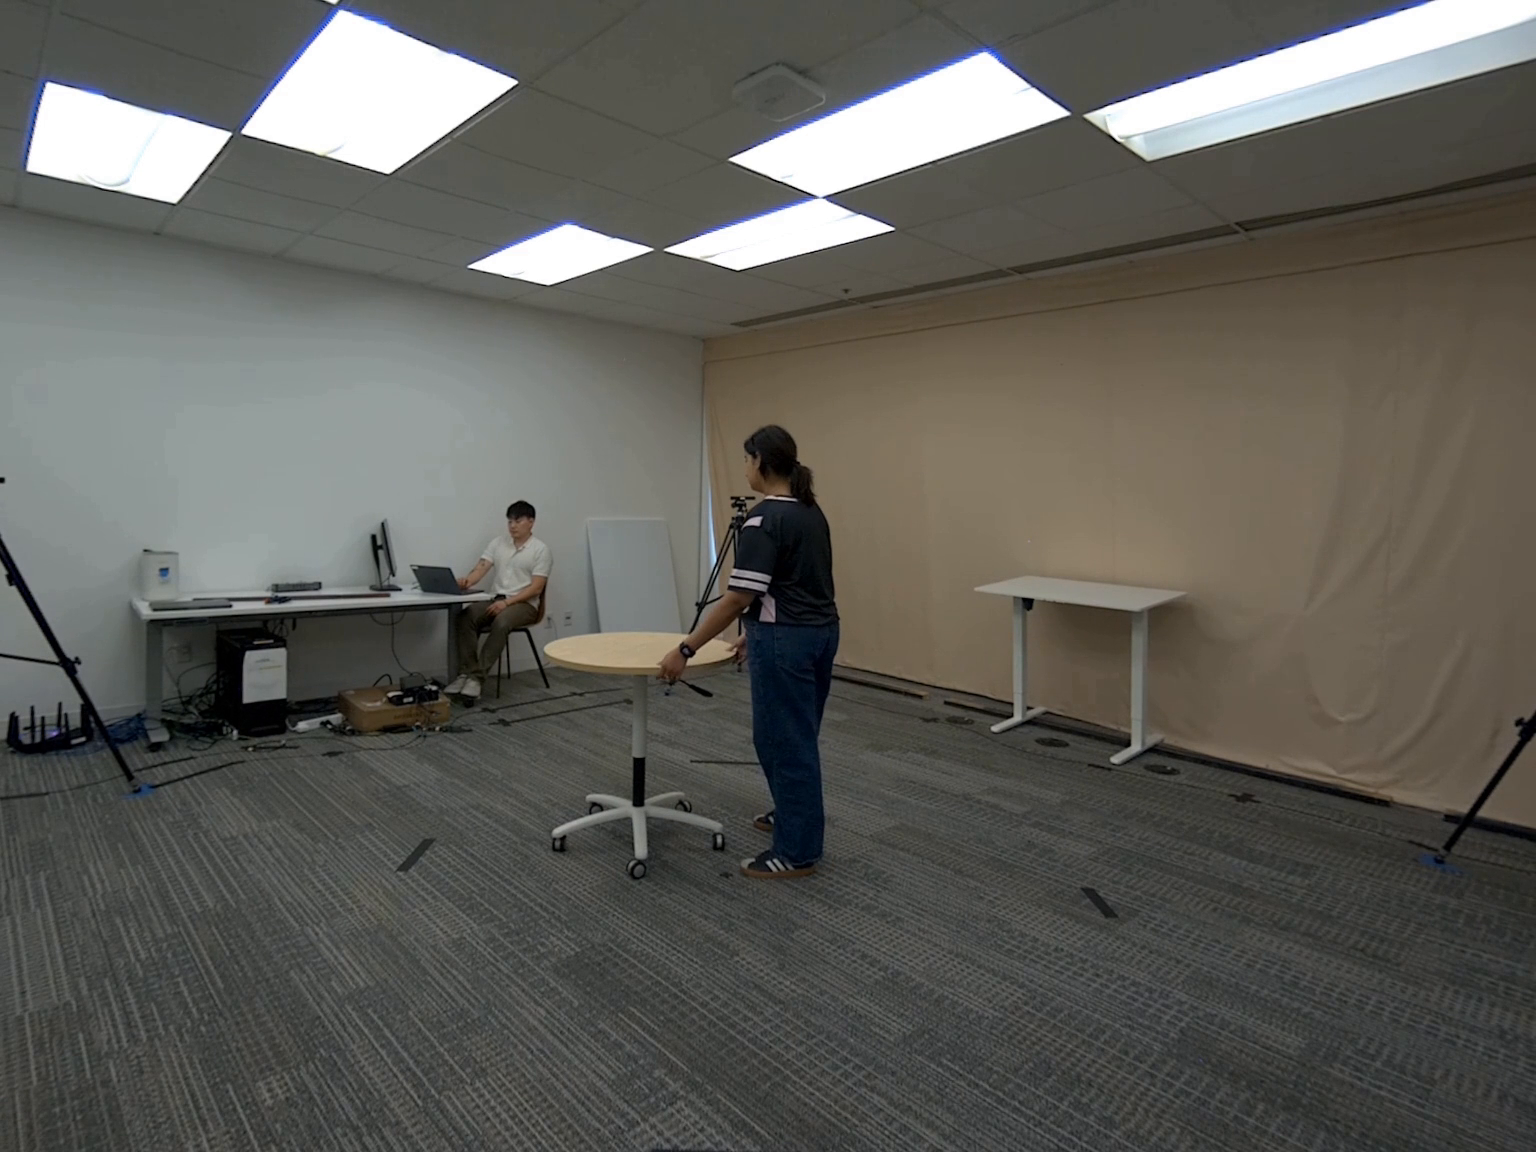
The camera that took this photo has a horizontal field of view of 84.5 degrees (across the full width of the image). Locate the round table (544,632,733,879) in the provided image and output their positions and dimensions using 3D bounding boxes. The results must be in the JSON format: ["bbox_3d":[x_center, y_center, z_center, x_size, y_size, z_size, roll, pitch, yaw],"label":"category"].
[{"bbox_3d":[-0.522,0.681,3.399,0.763,0.792,0.766,2,4,-1],"label":"round table"}]
